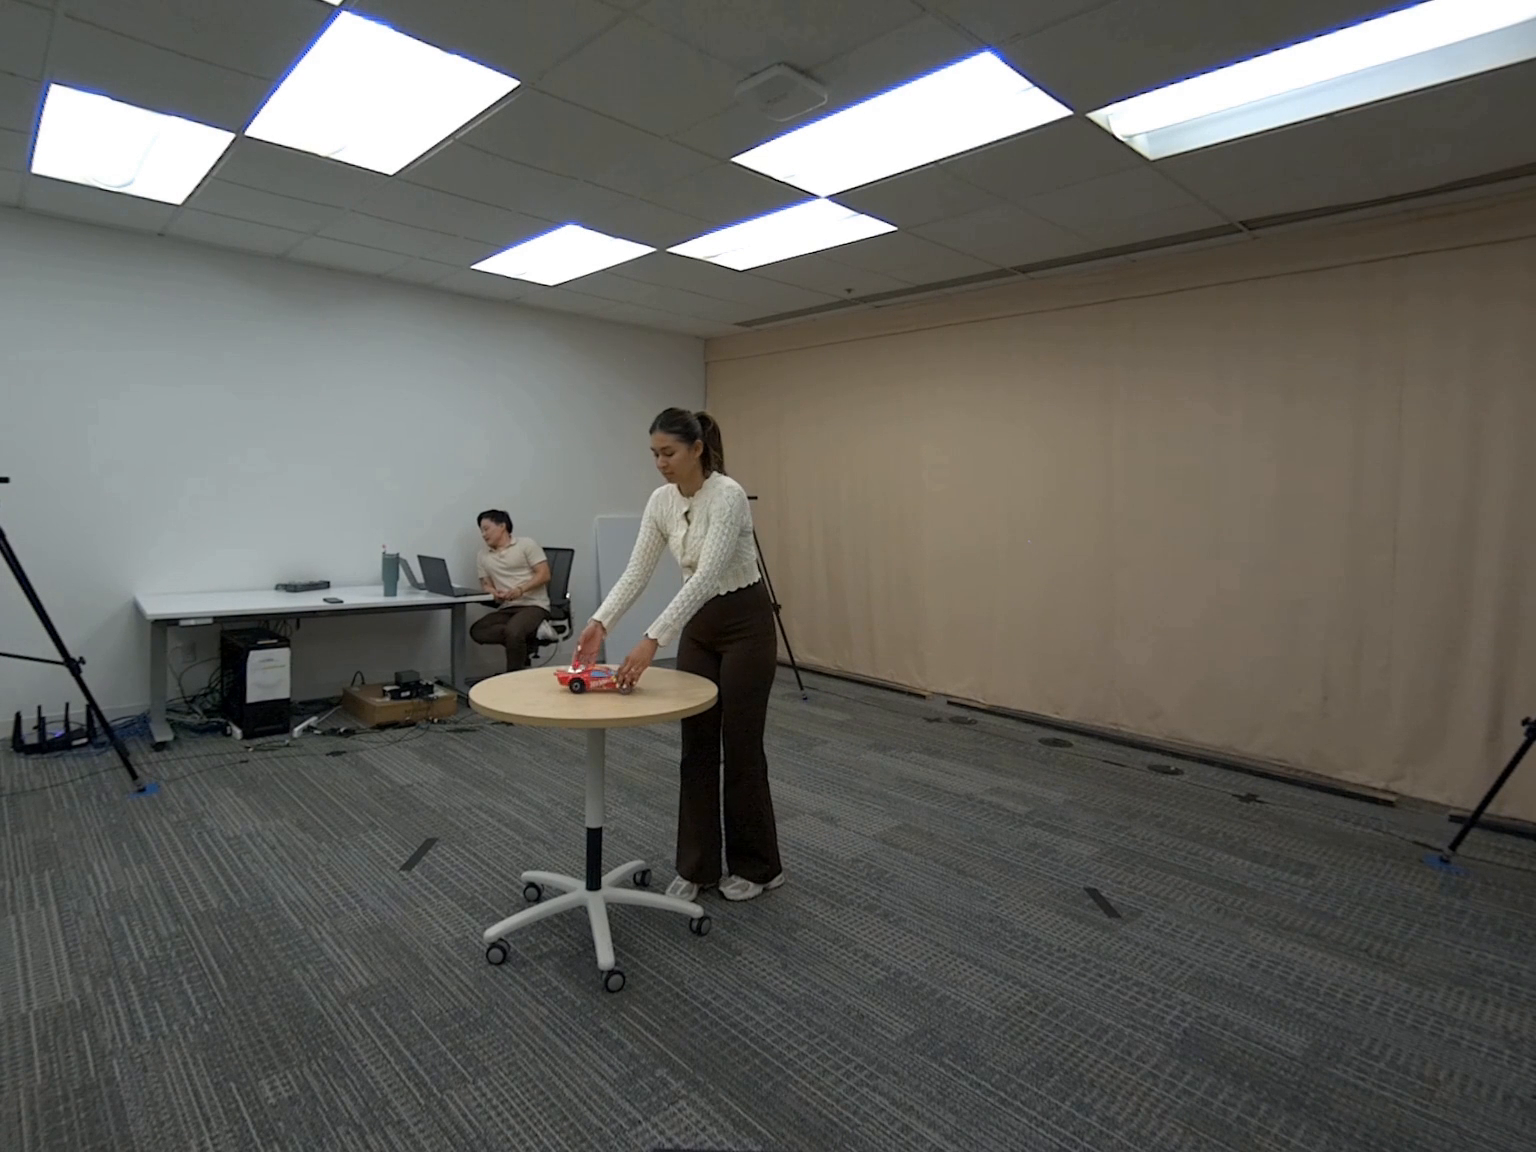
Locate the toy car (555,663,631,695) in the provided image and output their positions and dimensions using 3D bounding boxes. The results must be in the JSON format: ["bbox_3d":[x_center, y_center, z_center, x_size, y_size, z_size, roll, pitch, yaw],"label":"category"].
[{"bbox_3d":[-0.540,0.325,2.603,0.254,0.083,0.131,12,3,-3],"label":"toy car"}]
